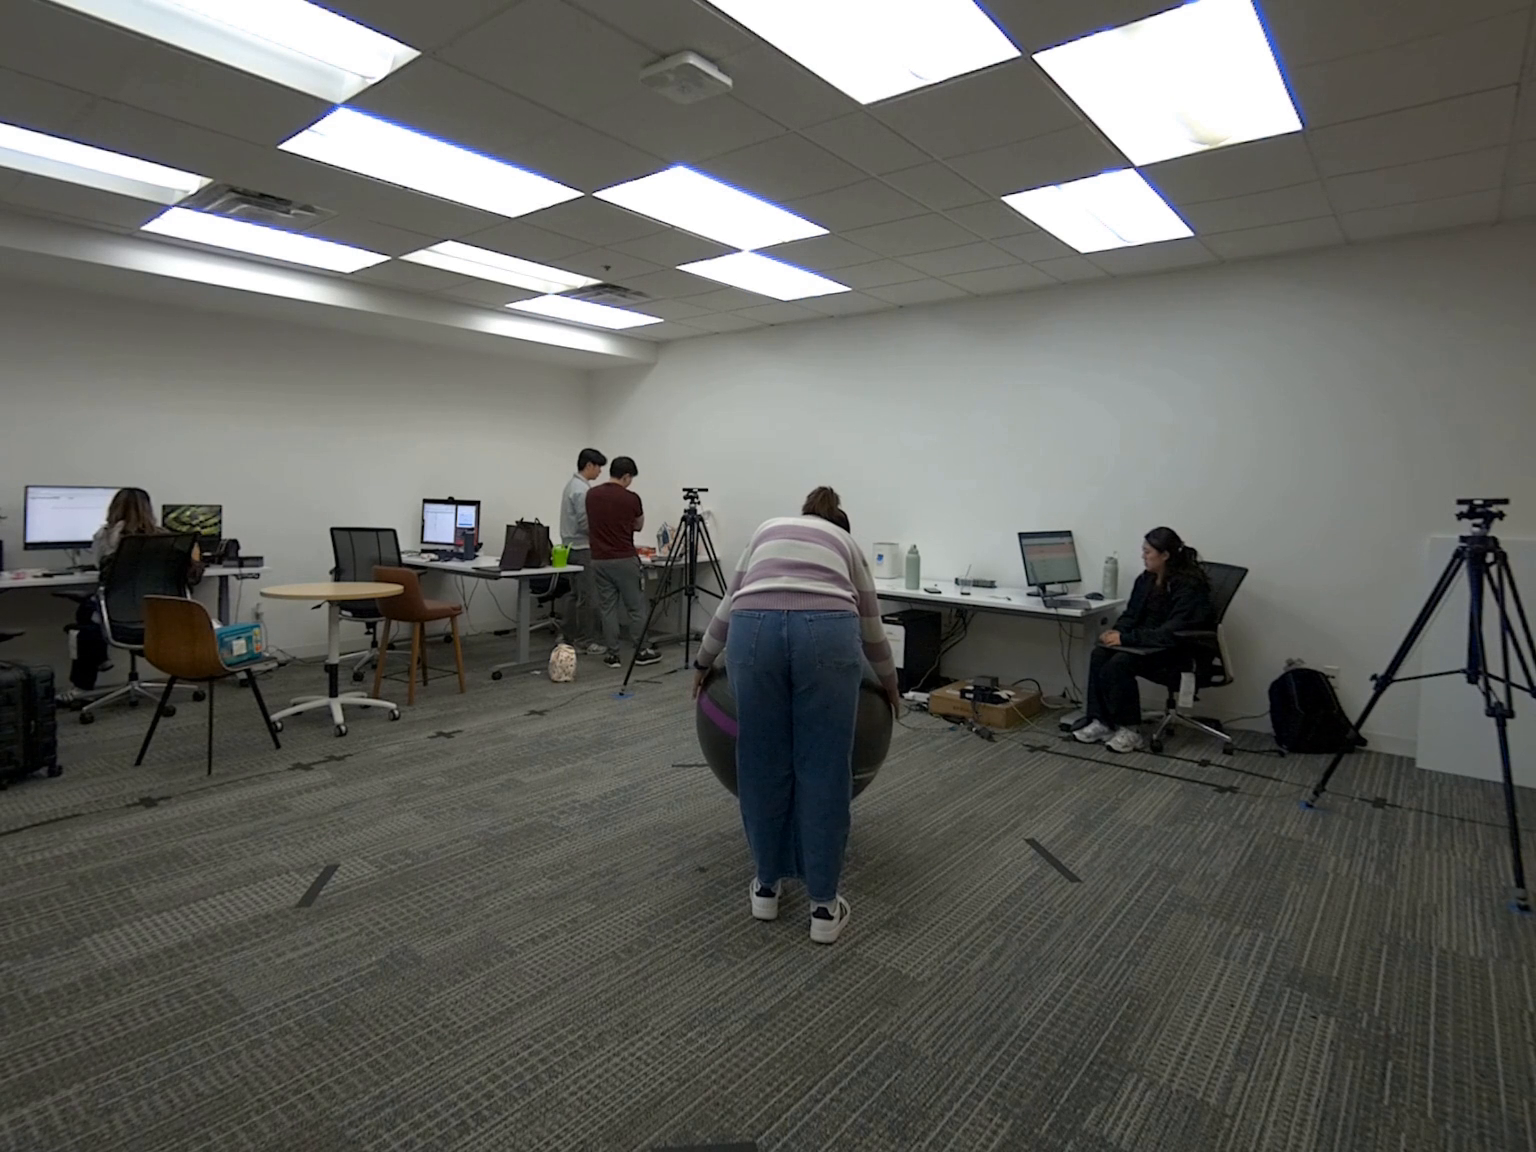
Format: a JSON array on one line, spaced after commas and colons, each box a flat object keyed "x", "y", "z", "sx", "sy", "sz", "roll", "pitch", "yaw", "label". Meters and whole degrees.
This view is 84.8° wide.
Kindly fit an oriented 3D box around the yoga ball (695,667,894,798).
[{"x": 0.094, "y": 0.541, "z": 3.316, "sx": 0.757, "sy": 0.756, "sz": 0.762, "roll": 1, "pitch": 4, "yaw": -2, "label": "yoga ball"}]
